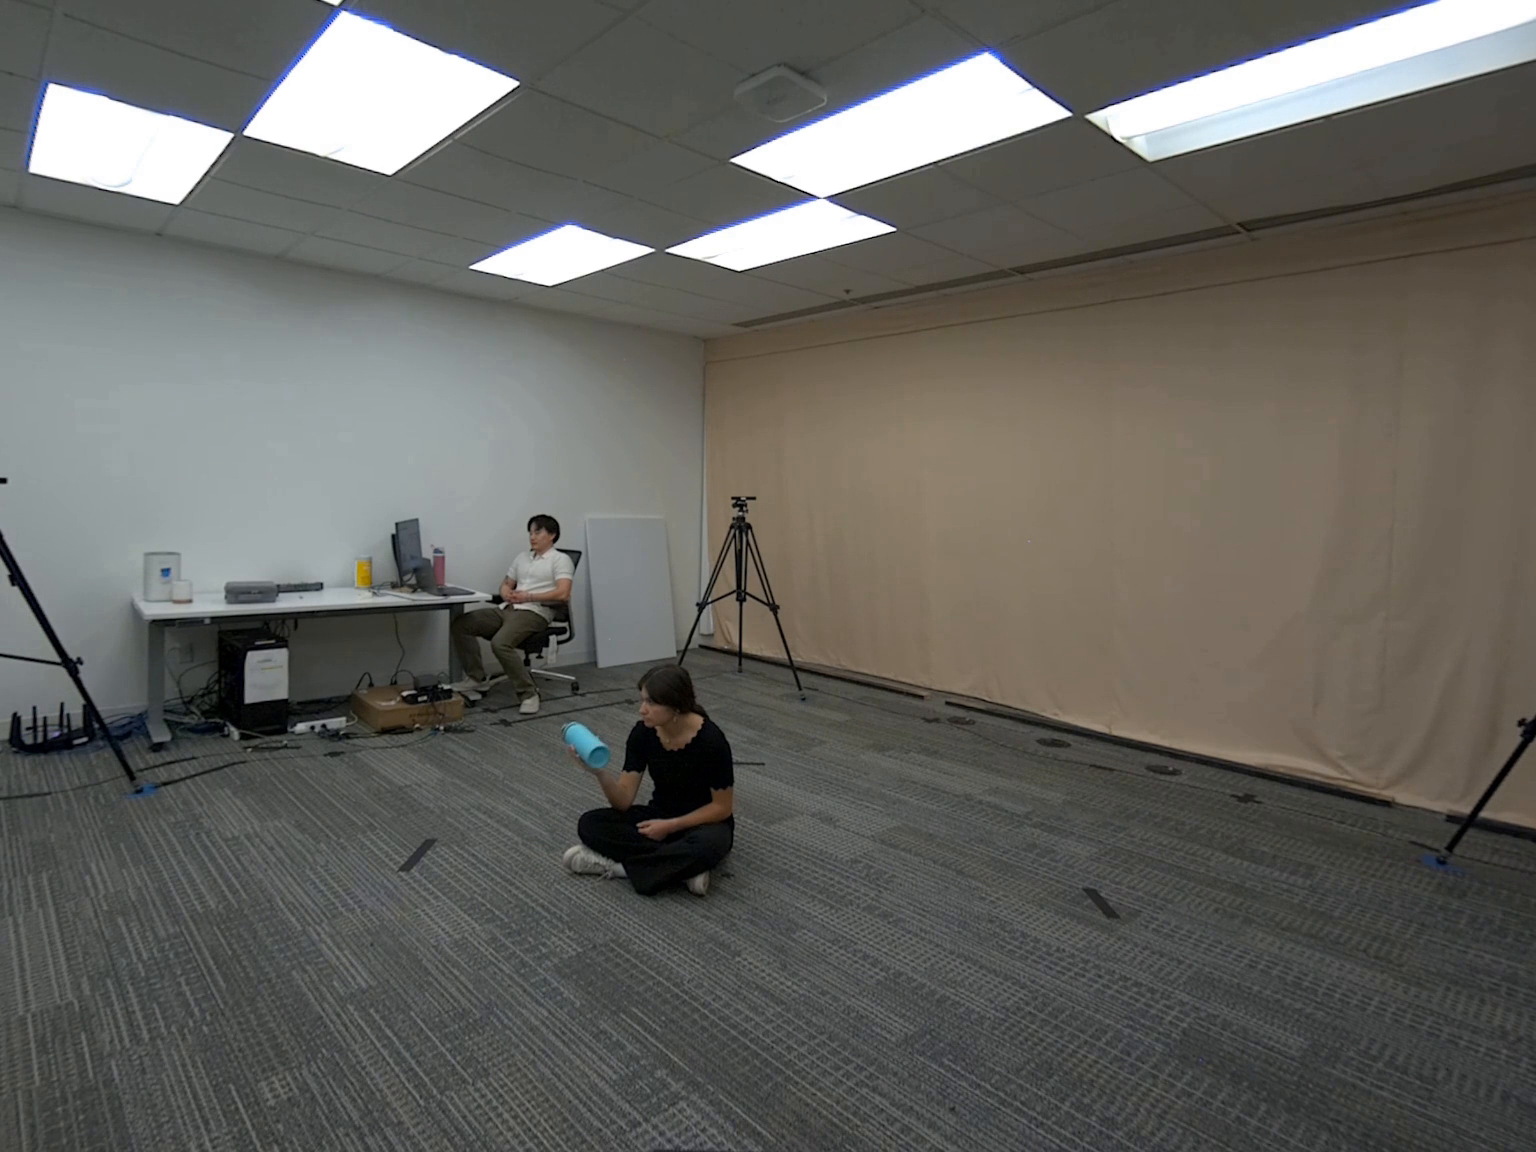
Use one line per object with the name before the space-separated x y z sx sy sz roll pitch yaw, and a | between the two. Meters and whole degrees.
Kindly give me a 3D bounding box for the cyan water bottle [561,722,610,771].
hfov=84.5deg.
cyan water bottle | -0.675 0.607 3.063 0.090 0.092 0.291 -1 12 -33
